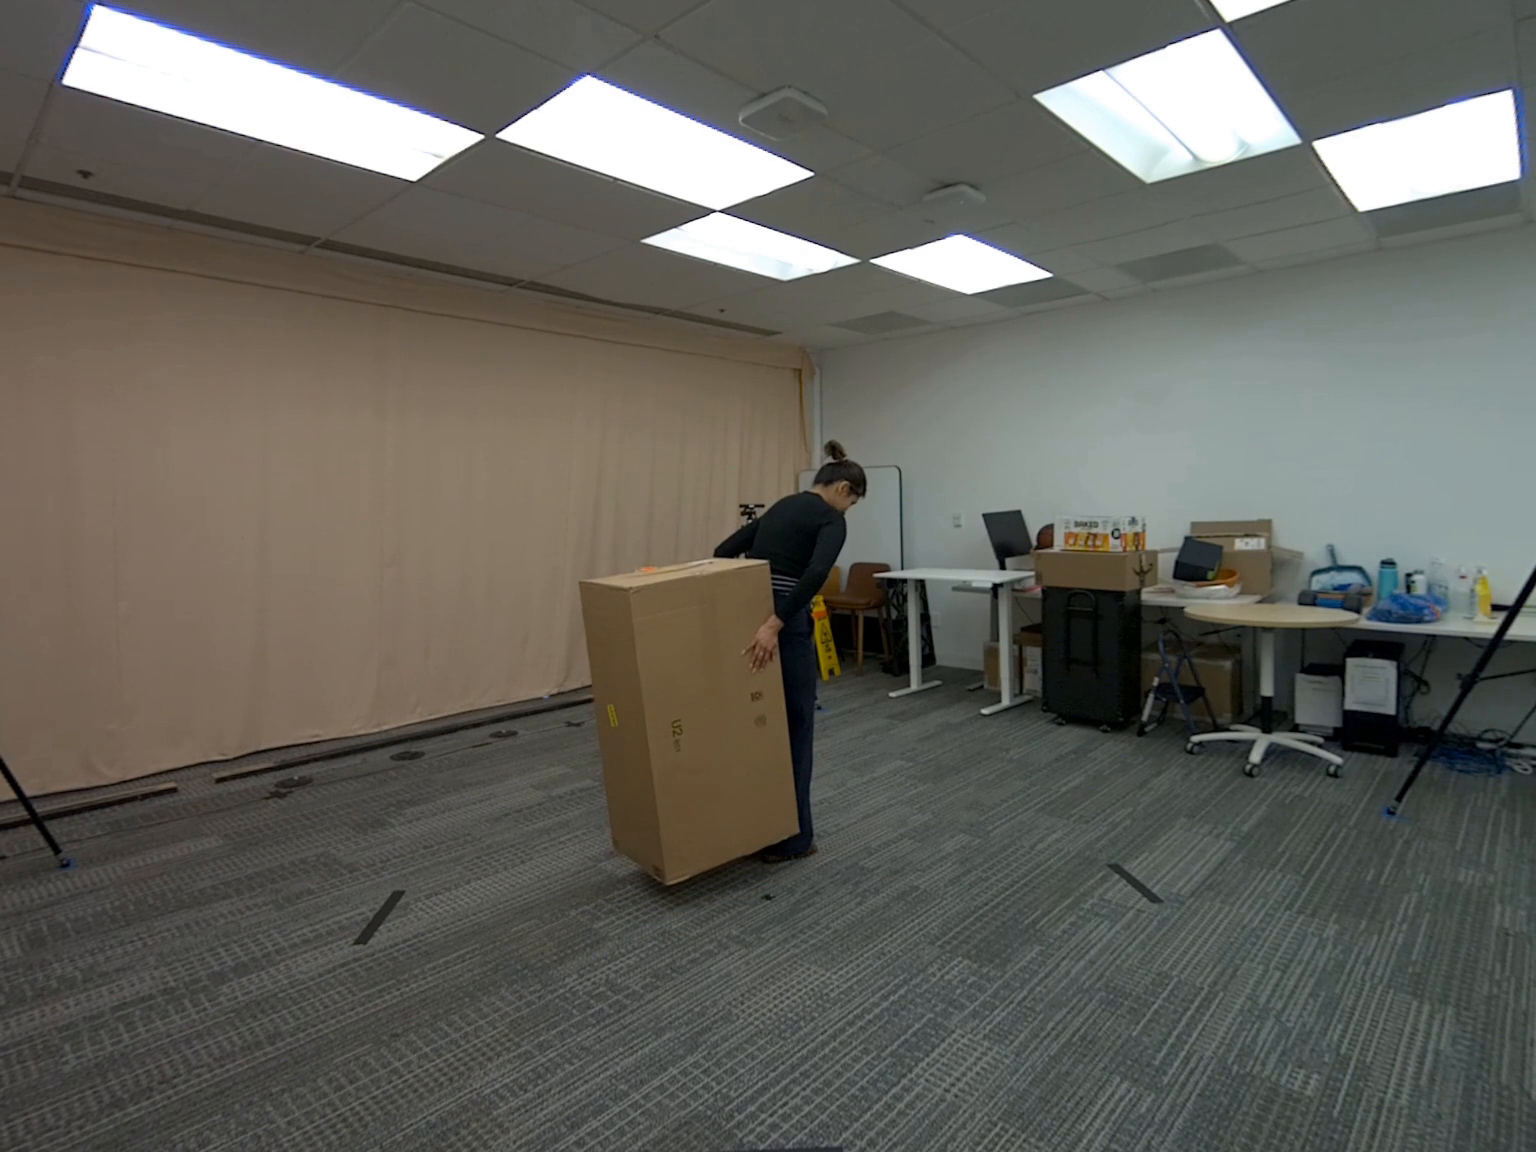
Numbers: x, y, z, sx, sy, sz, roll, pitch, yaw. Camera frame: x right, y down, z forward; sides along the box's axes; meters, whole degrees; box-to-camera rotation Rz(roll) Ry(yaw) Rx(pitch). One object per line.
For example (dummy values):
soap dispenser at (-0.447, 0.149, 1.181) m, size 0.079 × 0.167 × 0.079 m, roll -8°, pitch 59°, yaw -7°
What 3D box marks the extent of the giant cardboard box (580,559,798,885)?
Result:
giant cardboard box at (-0.297, 0.493, 3.100) m, size 0.563 × 1.021 × 0.439 m, roll -10°, pitch 7°, yaw -33°
